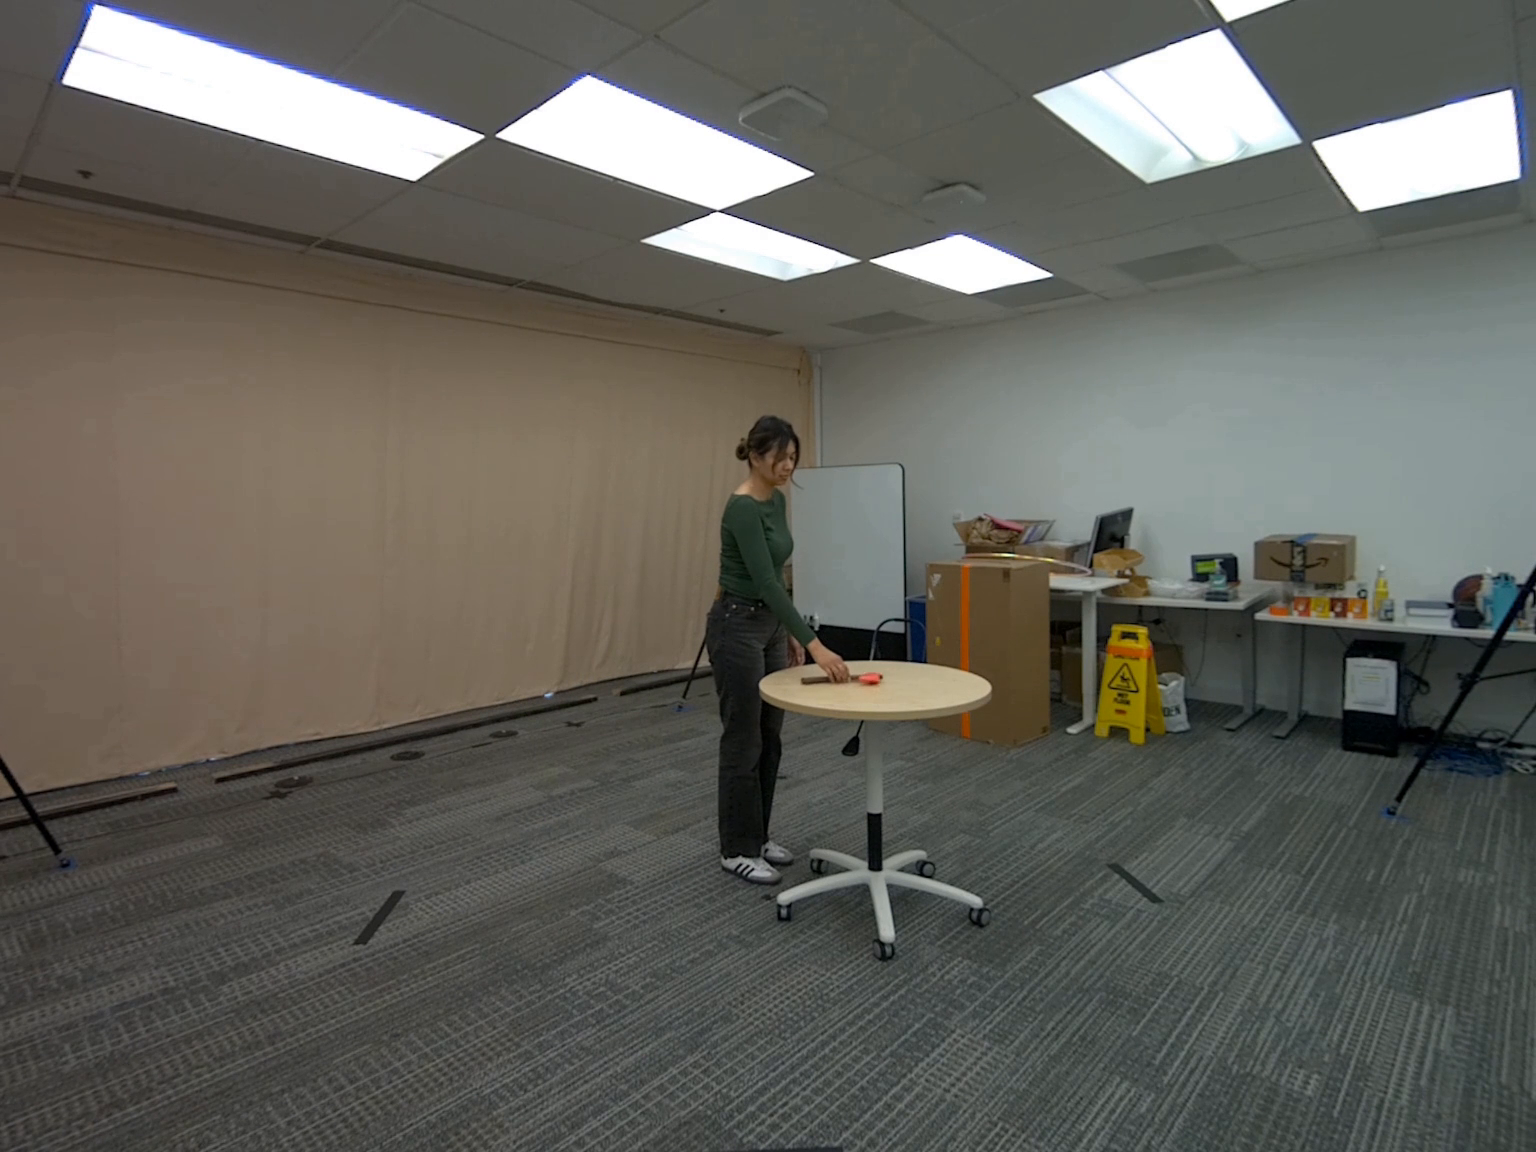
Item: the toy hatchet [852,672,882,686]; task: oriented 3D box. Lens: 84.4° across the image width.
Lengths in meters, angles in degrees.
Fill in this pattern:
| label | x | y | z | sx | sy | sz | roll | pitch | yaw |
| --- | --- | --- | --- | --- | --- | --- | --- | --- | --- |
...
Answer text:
| label | x | y | z | sx | sy | sz | roll | pitch | yaw |
| --- | --- | --- | --- | --- | --- | --- | --- | --- | --- |
| toy hatchet | 0.259 | 0.353 | 2.842 | 0.267 | 0.029 | 0.132 | -3 | 3 | -10 |
